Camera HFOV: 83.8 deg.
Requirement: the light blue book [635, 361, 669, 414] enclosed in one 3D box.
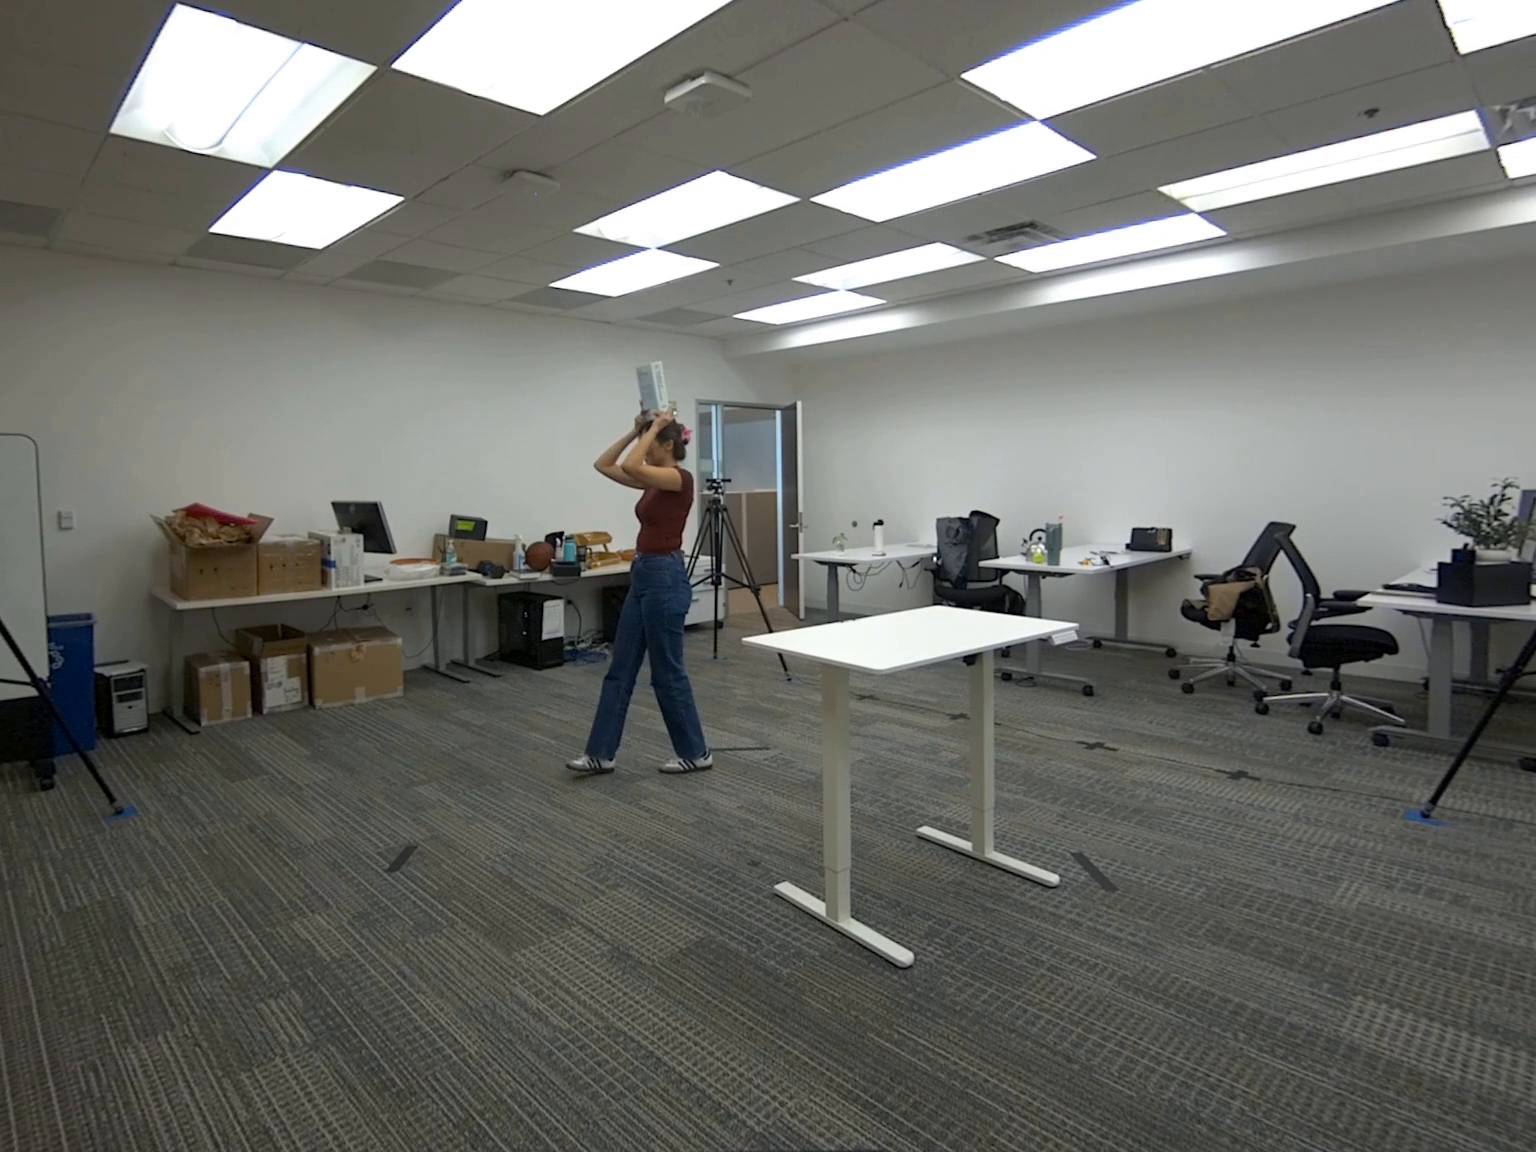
[{"bbox_3d":[-0.542,-0.866,4.020,0.058,0.258,0.197,-14,12,-27],"label":"light blue book"}]
